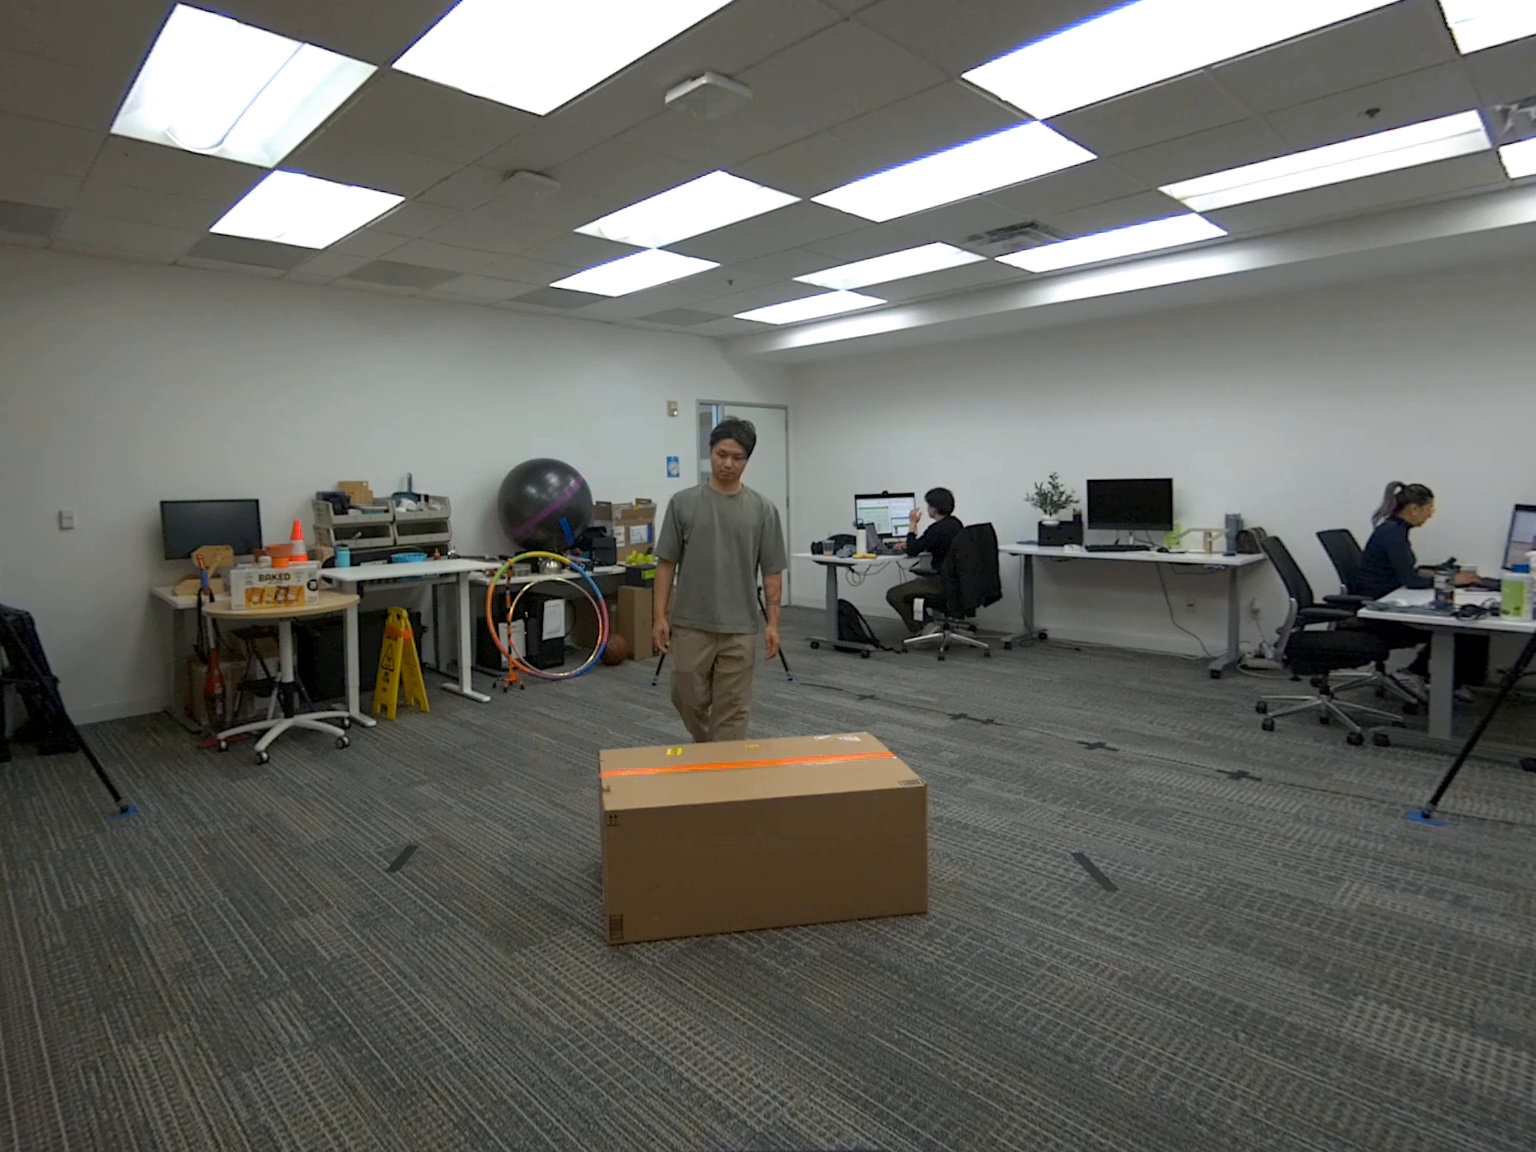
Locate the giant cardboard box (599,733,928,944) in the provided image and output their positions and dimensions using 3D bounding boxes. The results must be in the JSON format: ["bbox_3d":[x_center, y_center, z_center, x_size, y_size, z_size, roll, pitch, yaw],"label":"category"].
[{"bbox_3d":[-0.050,0.849,2.911,1.016,0.425,0.585,-2,5,-10],"label":"giant cardboard box"}]
